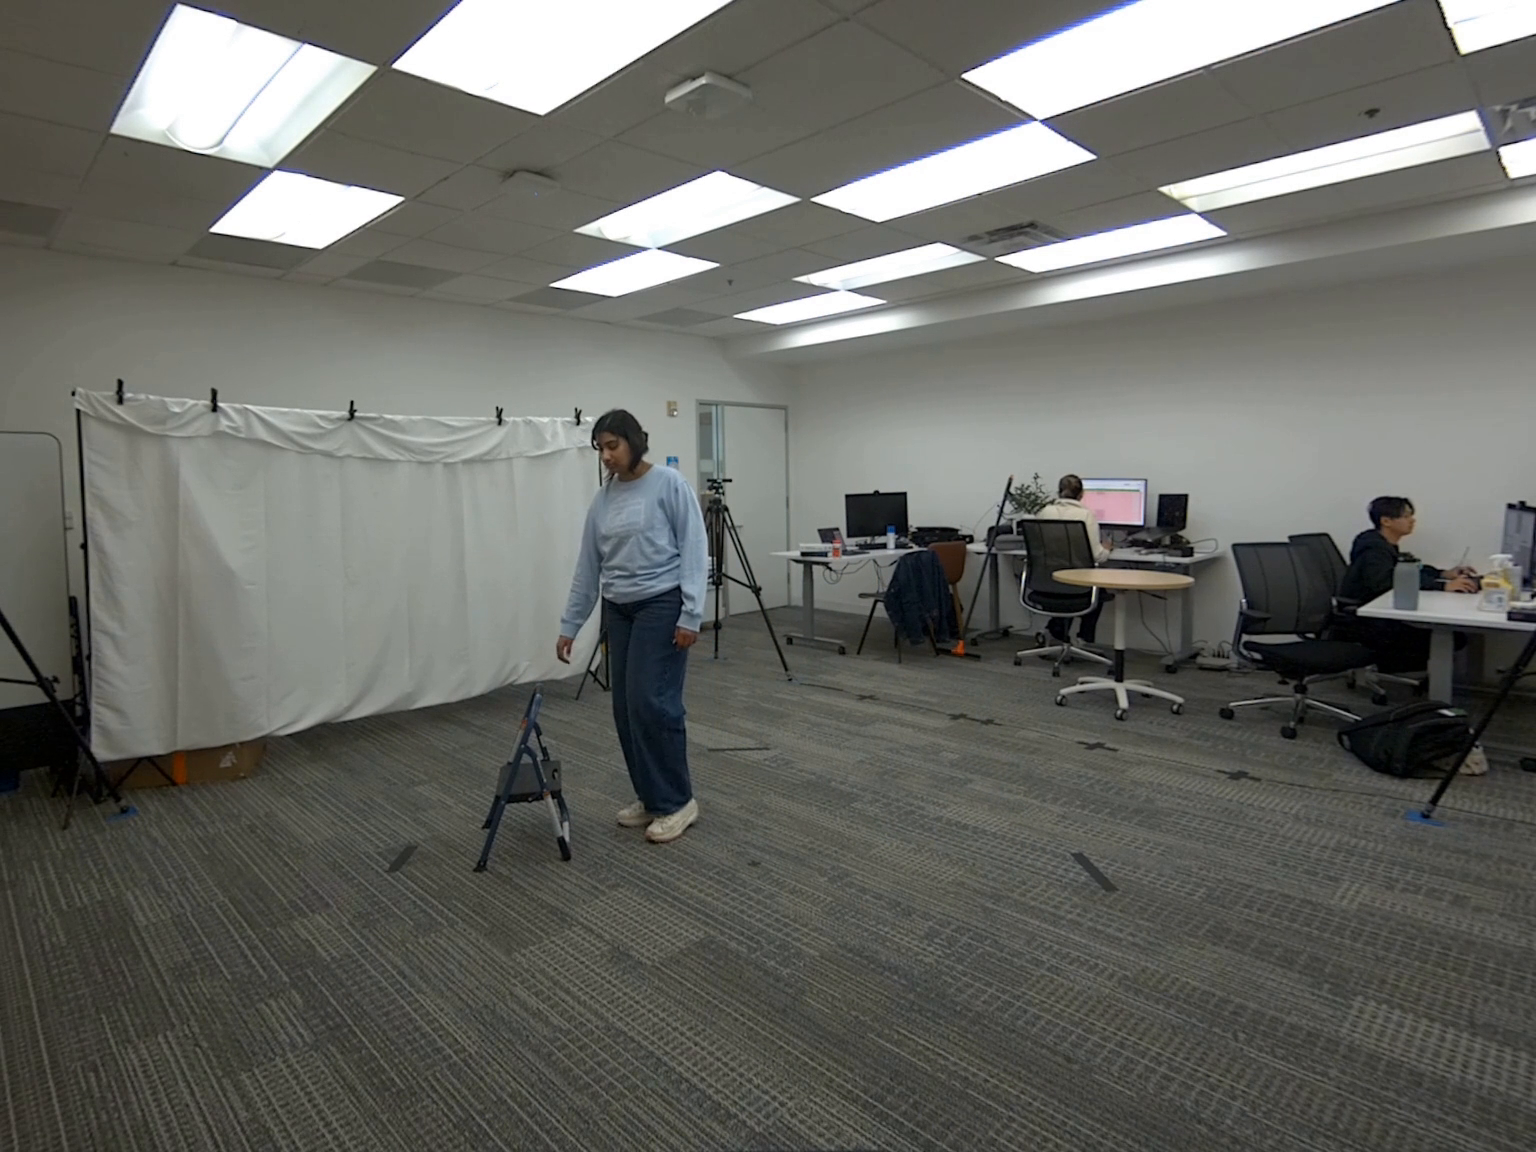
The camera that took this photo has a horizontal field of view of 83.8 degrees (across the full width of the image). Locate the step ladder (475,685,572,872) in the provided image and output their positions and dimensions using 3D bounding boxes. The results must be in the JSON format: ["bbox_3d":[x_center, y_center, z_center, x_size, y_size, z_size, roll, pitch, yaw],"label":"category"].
[{"bbox_3d":[-0.945,0.739,3.304,0.345,0.604,0.437,-2,4,-13],"label":"step ladder"}]
